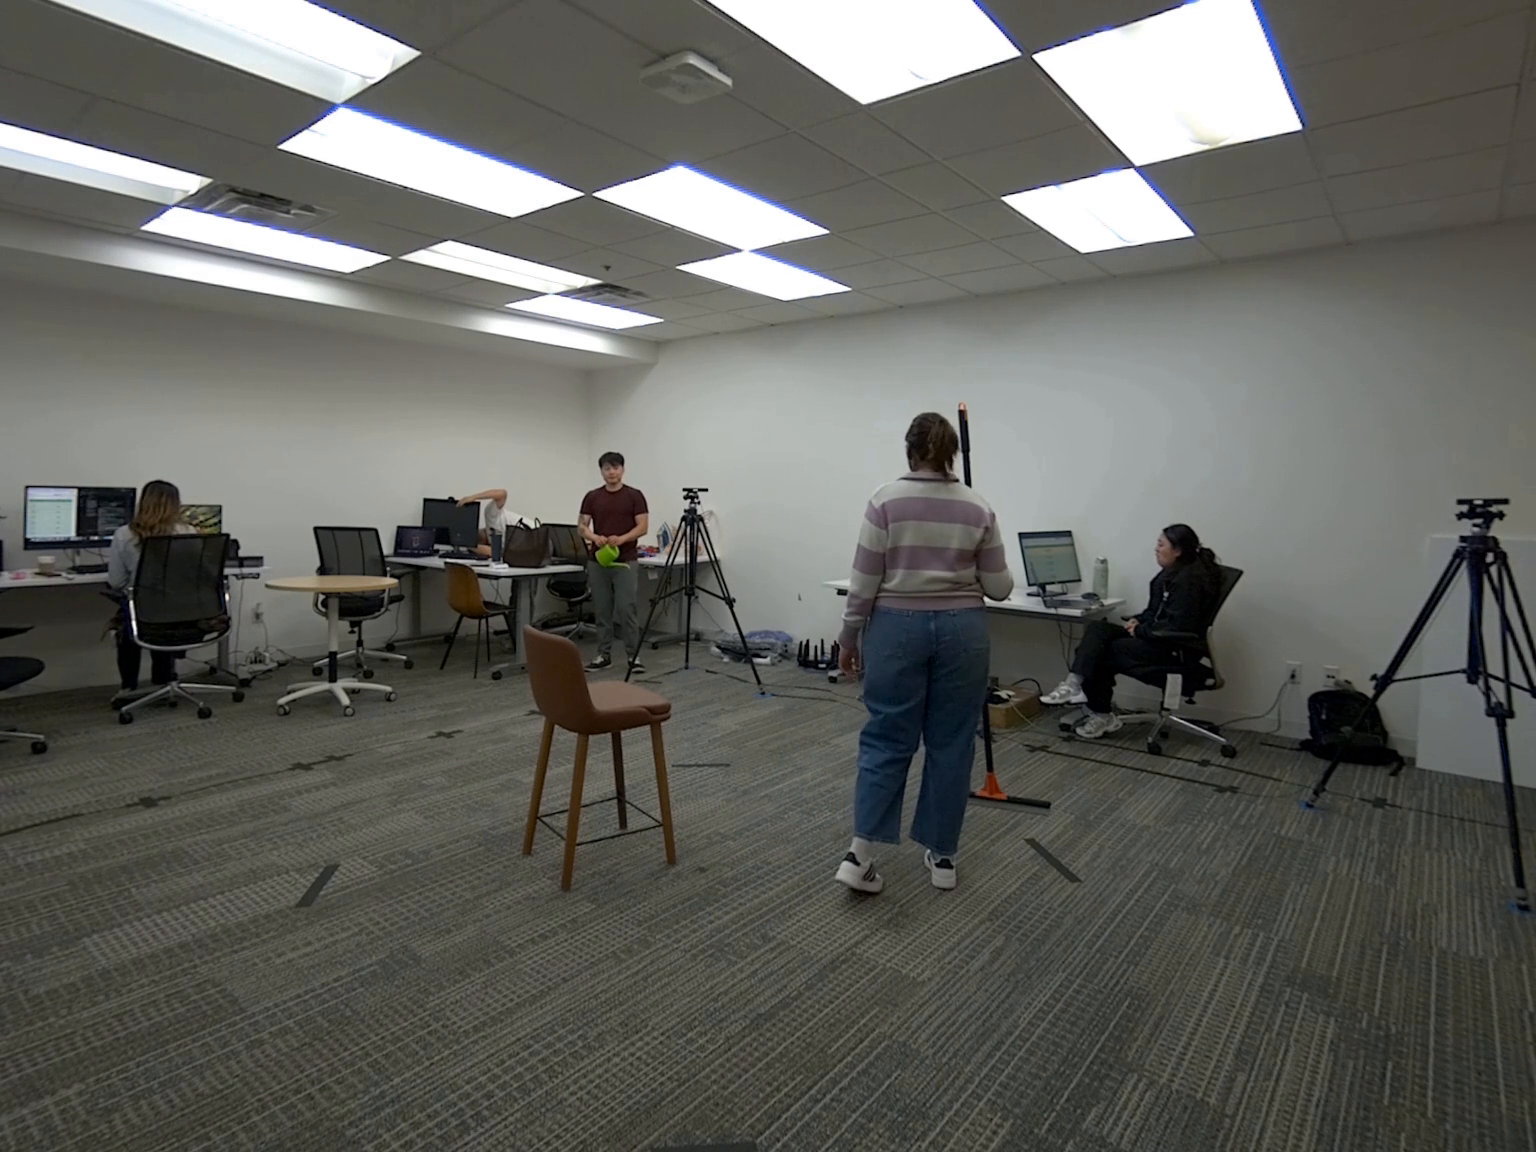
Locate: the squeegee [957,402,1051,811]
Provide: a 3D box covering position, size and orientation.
[{"bbox_3d":[0.790,0.114,3.256,0.450,1.539,0.051,-4,-1,41],"label":"squeegee"}]
